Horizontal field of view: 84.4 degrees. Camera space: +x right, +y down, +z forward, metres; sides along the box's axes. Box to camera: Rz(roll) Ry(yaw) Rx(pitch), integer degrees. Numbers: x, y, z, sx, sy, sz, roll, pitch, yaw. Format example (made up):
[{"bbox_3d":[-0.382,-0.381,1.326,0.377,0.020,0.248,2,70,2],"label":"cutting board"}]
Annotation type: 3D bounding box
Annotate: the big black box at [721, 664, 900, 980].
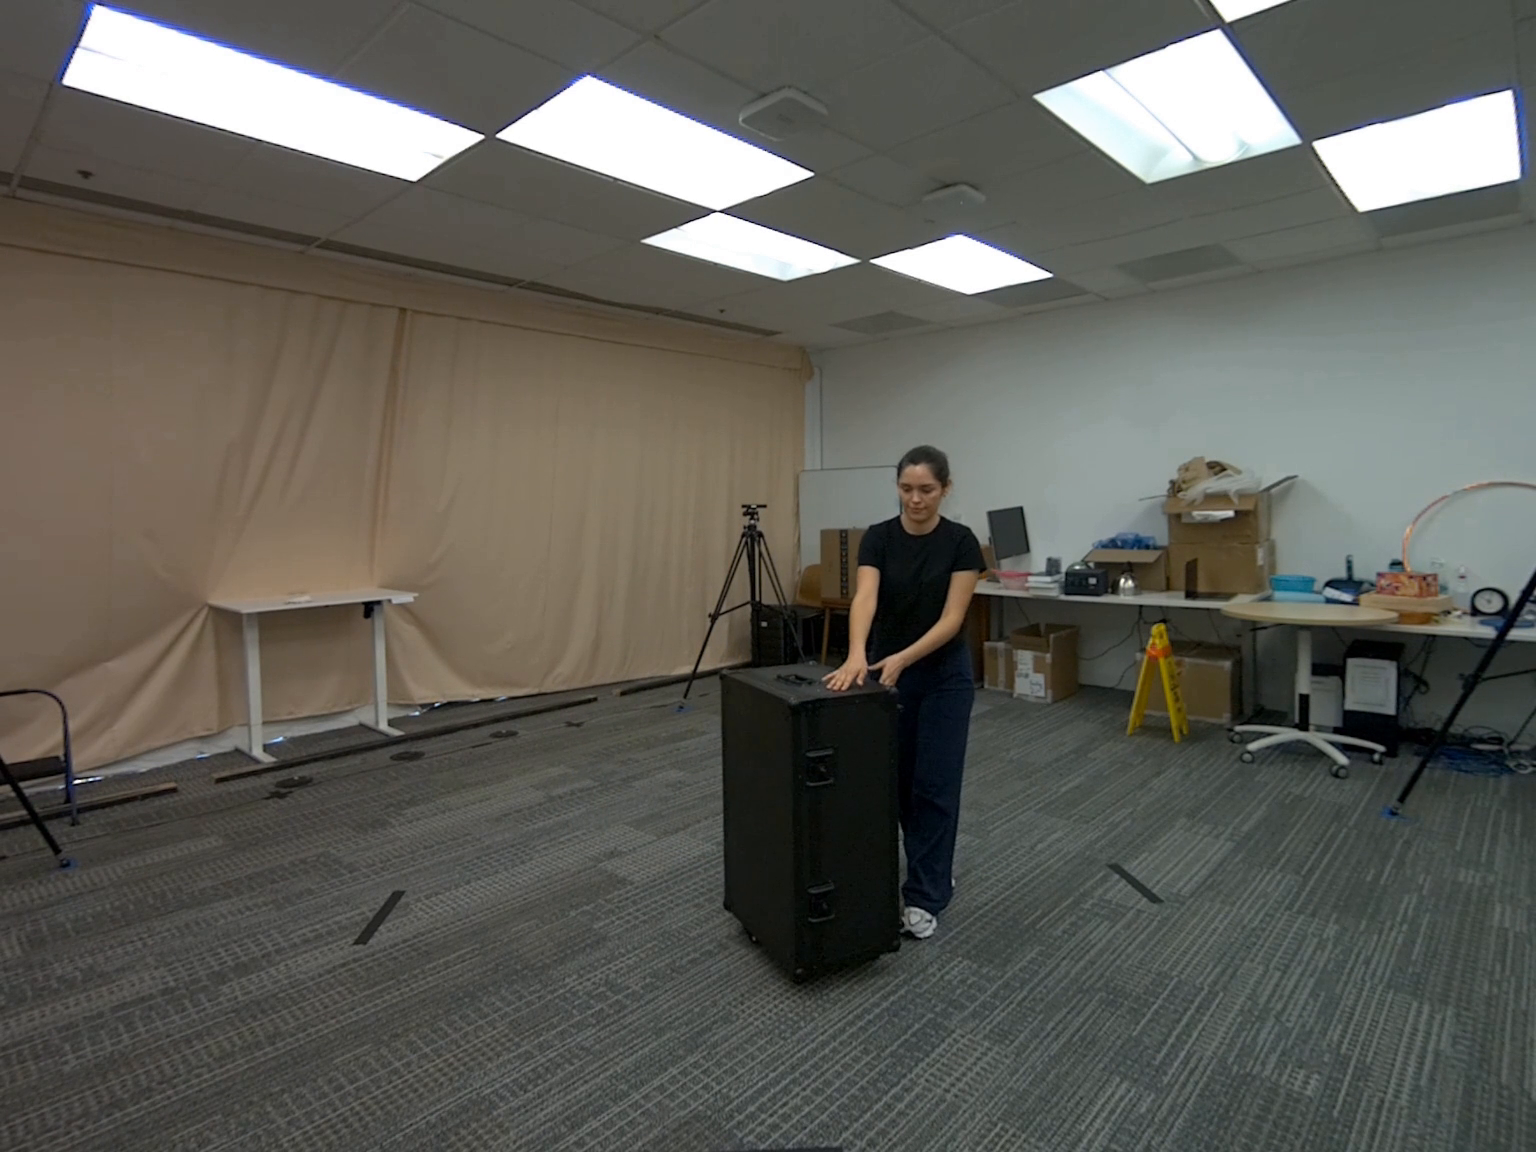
[{"bbox_3d":[0.143,0.742,2.620,0.386,0.860,0.535,-2,4,-27],"label":"big black box"}]
